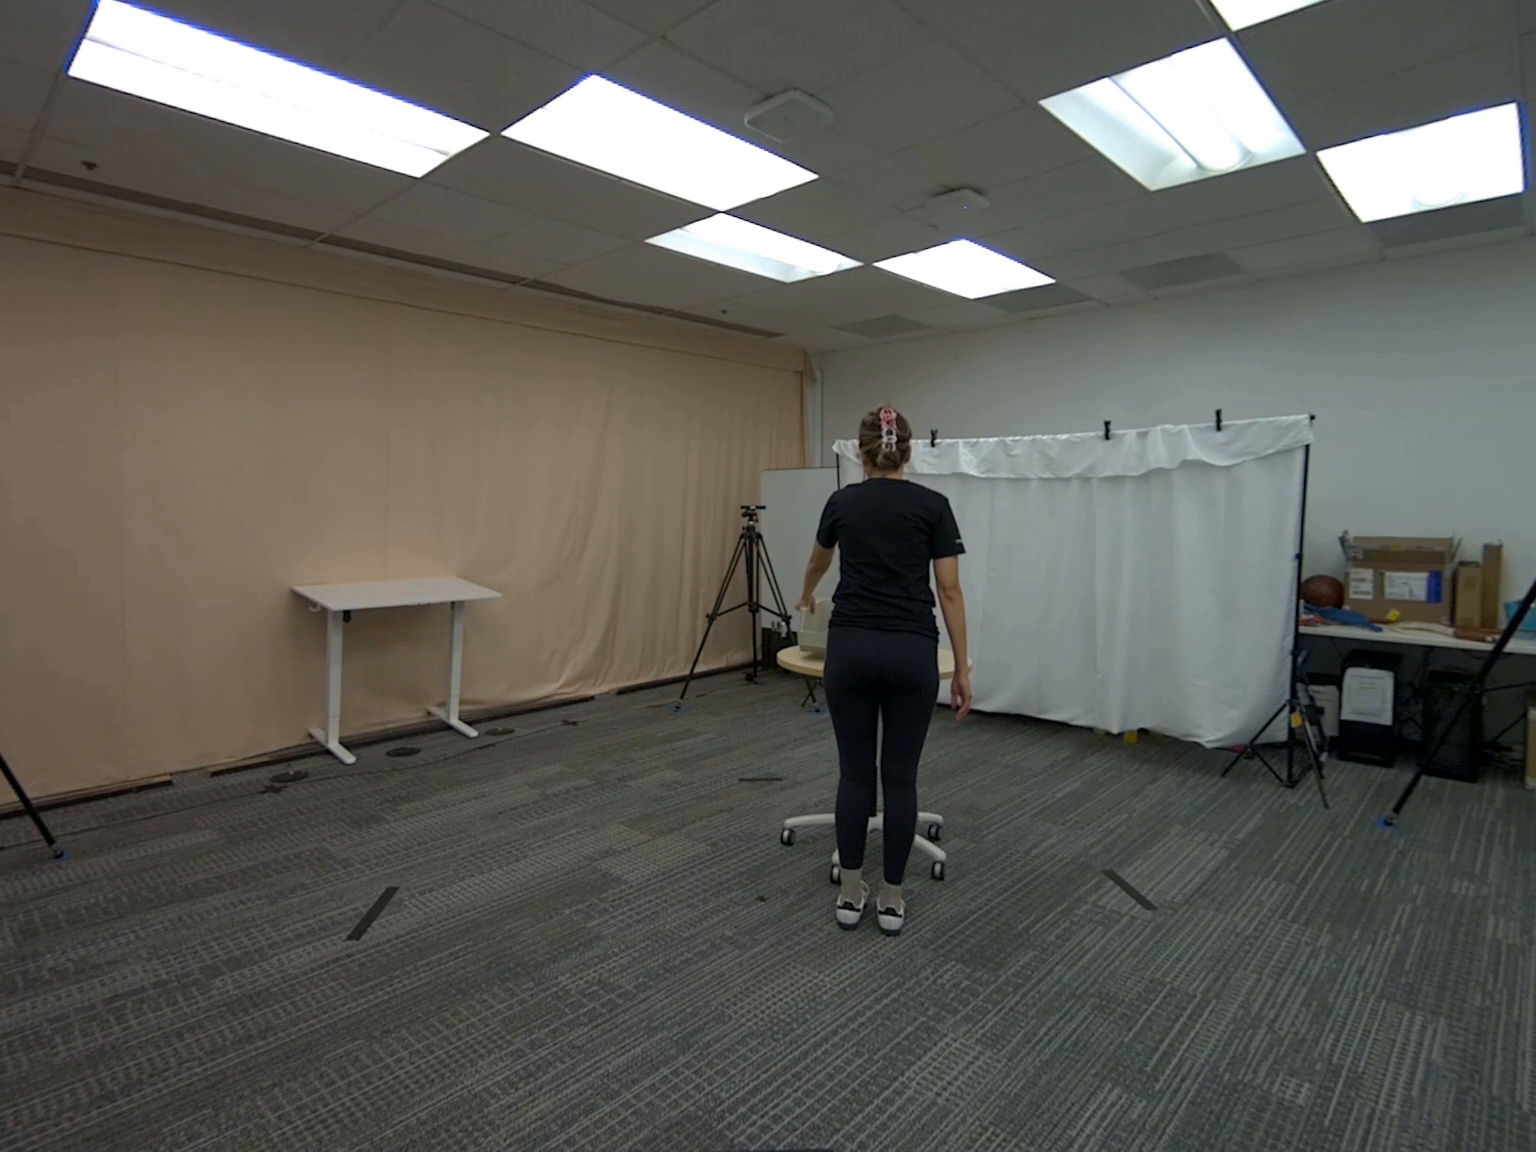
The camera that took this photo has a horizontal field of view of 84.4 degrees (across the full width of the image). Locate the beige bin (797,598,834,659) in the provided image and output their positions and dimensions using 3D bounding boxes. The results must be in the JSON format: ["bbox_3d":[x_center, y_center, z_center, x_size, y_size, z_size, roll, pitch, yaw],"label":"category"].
[{"bbox_3d":[0.368,0.220,3.362,0.430,0.188,0.371,6,4,15],"label":"beige bin"}]
